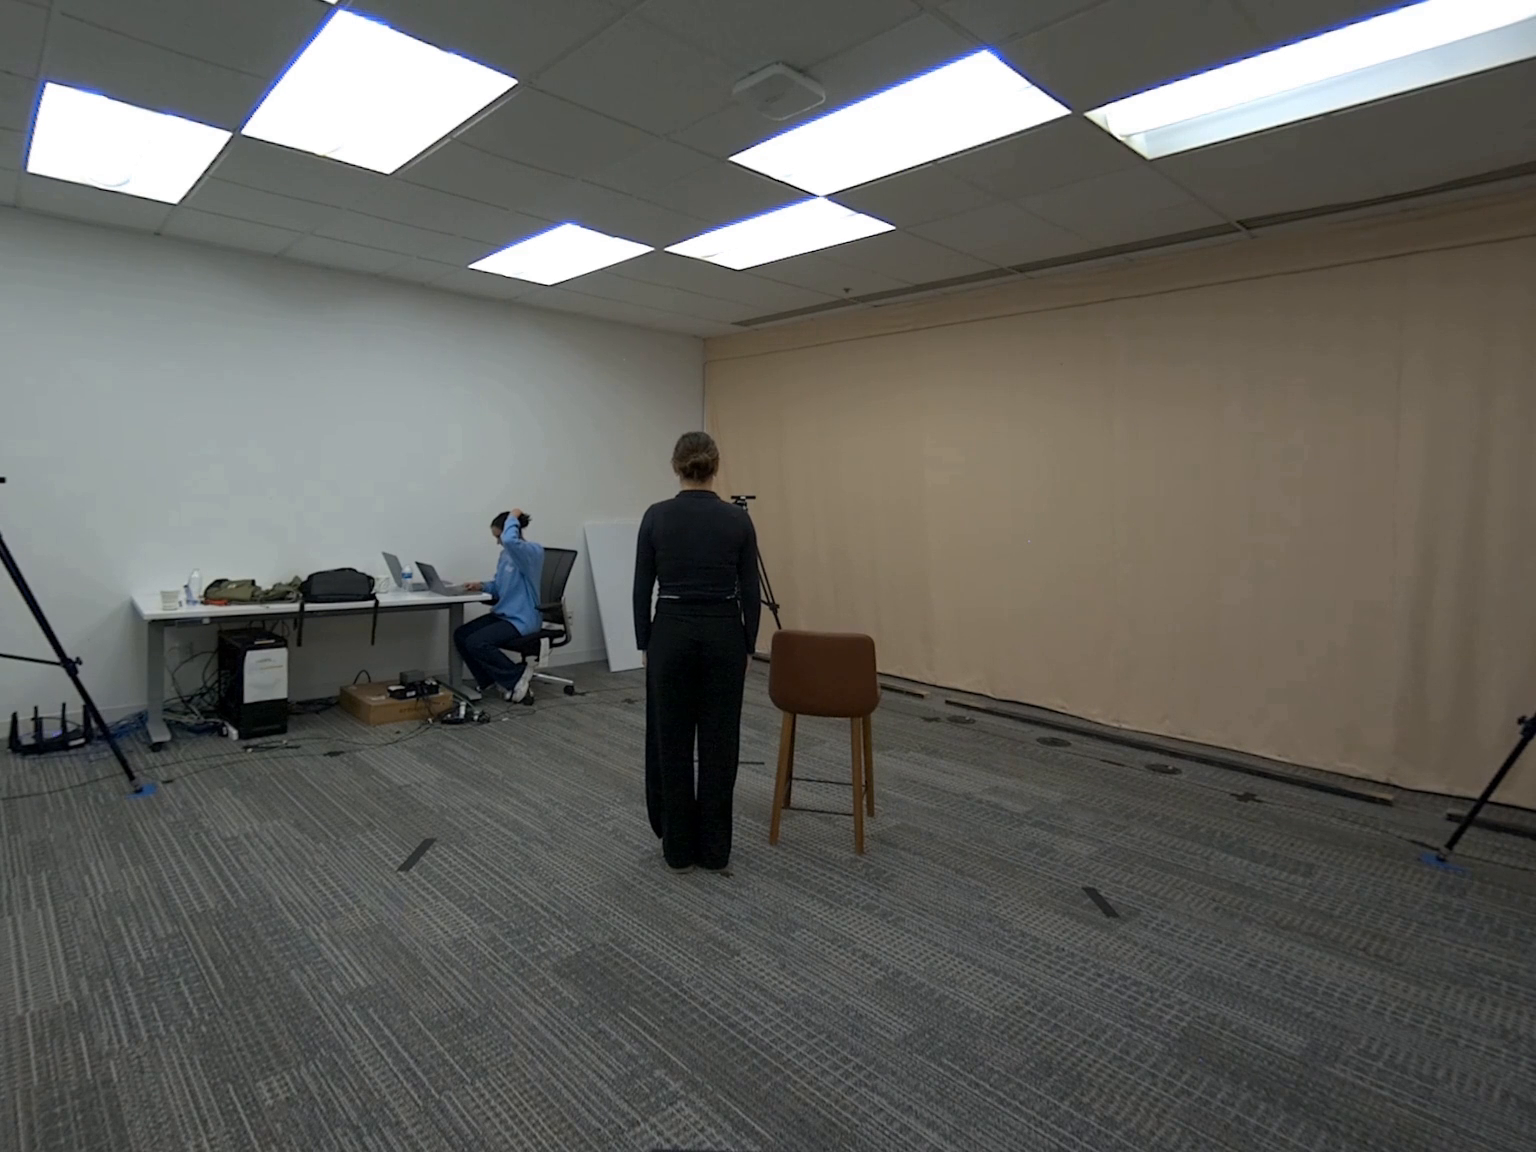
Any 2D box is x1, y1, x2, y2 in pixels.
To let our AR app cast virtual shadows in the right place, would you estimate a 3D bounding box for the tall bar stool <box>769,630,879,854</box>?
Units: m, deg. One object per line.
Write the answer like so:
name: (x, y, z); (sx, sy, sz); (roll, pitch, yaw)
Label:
tall bar stool: (0.233, 0.640, 3.542); (0.461, 0.887, 0.464); (2, 4, 13)
